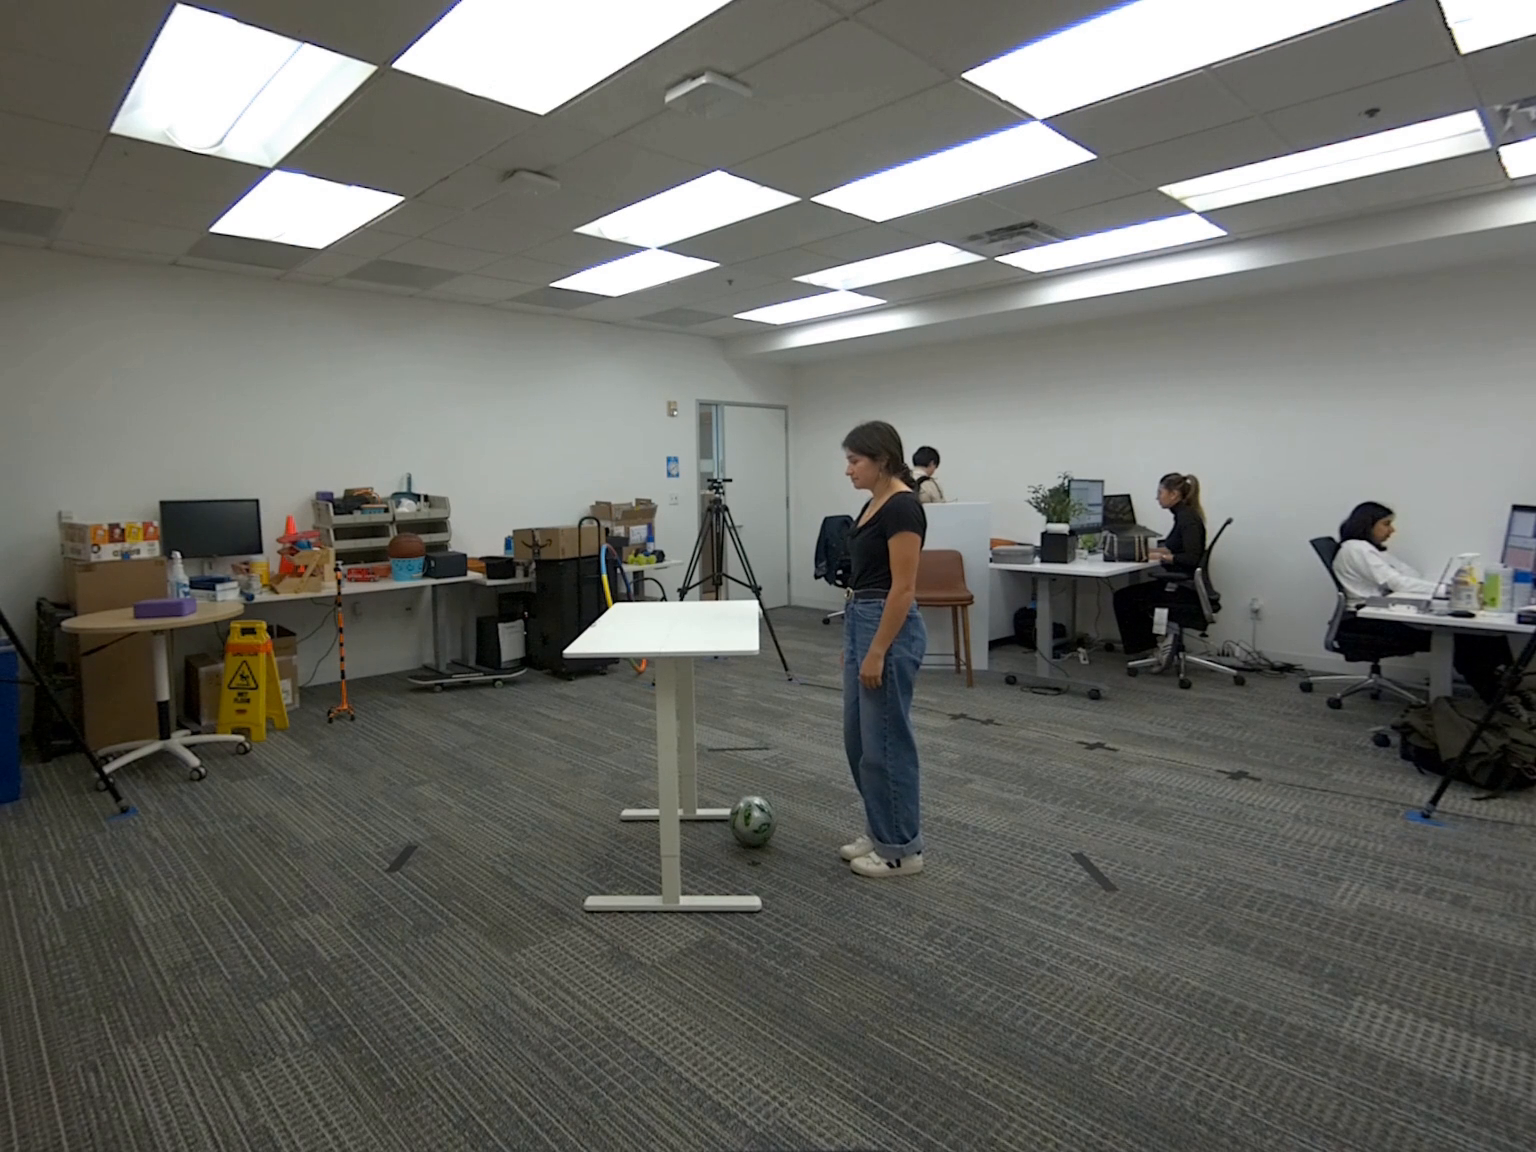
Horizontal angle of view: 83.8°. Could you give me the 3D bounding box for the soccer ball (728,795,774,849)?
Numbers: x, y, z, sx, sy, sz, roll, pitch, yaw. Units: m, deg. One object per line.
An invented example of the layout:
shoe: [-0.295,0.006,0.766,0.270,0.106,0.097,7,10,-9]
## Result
soccer ball: [-0.054,0.938,3.279,0.187,0.187,0.188,-1,5,-2]
